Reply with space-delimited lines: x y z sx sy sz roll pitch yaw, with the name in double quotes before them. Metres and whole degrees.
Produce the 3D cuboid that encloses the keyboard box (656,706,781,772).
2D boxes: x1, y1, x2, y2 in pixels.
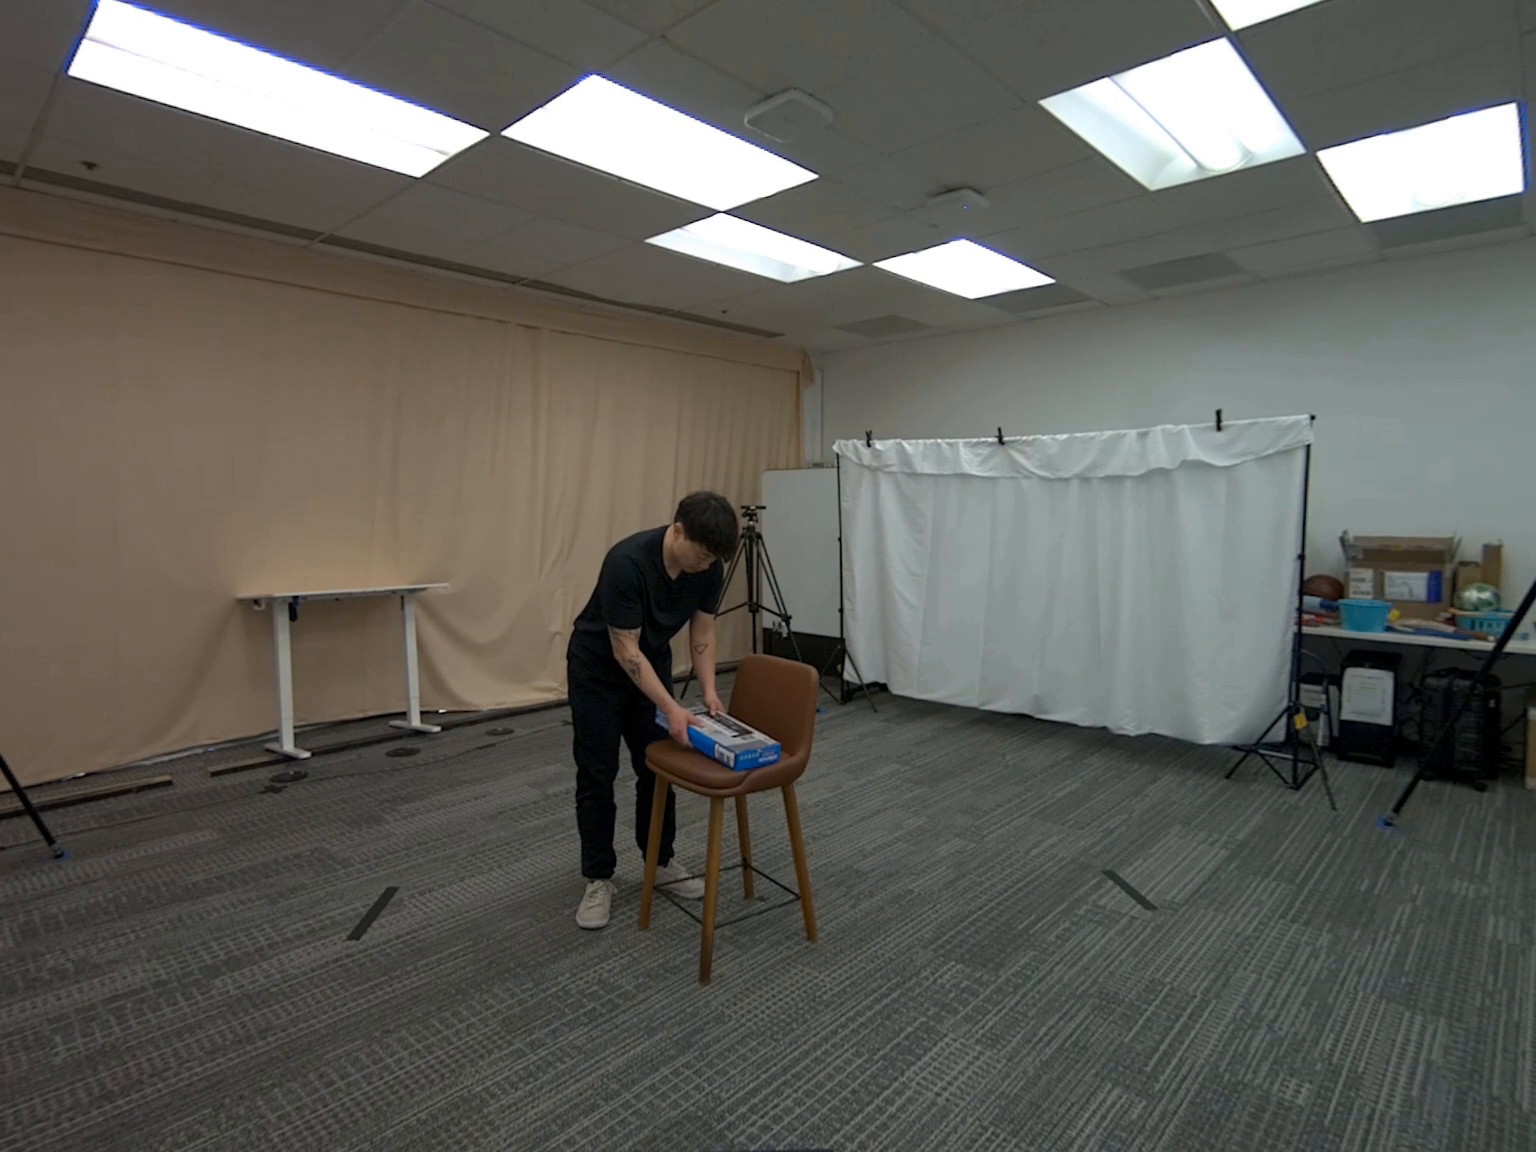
"keyboard box" -0.177 0.504 2.675 0.171 0.059 0.452 -2 12 -36
